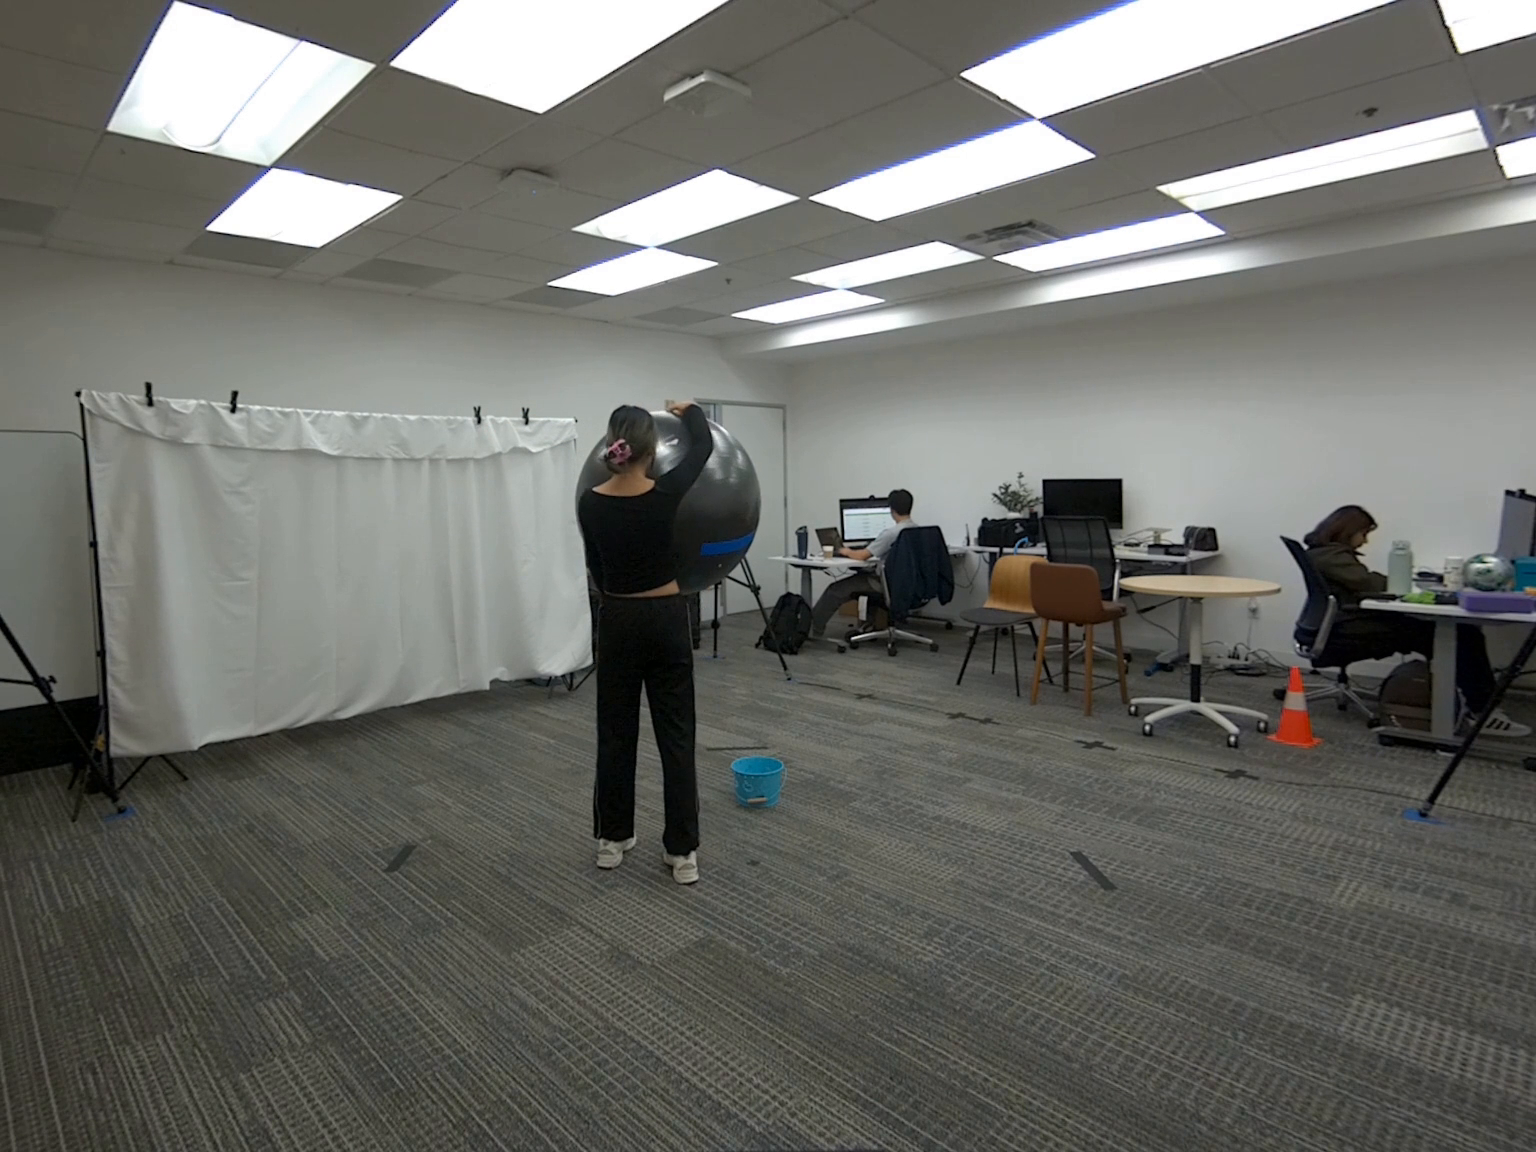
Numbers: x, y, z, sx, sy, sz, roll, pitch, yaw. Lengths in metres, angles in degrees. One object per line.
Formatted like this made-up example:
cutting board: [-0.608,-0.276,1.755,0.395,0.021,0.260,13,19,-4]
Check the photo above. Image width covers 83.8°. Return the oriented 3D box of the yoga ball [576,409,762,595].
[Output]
yoga ball: [-0.410,-0.289,3.500,0.757,0.755,0.762,-1,5,-2]
